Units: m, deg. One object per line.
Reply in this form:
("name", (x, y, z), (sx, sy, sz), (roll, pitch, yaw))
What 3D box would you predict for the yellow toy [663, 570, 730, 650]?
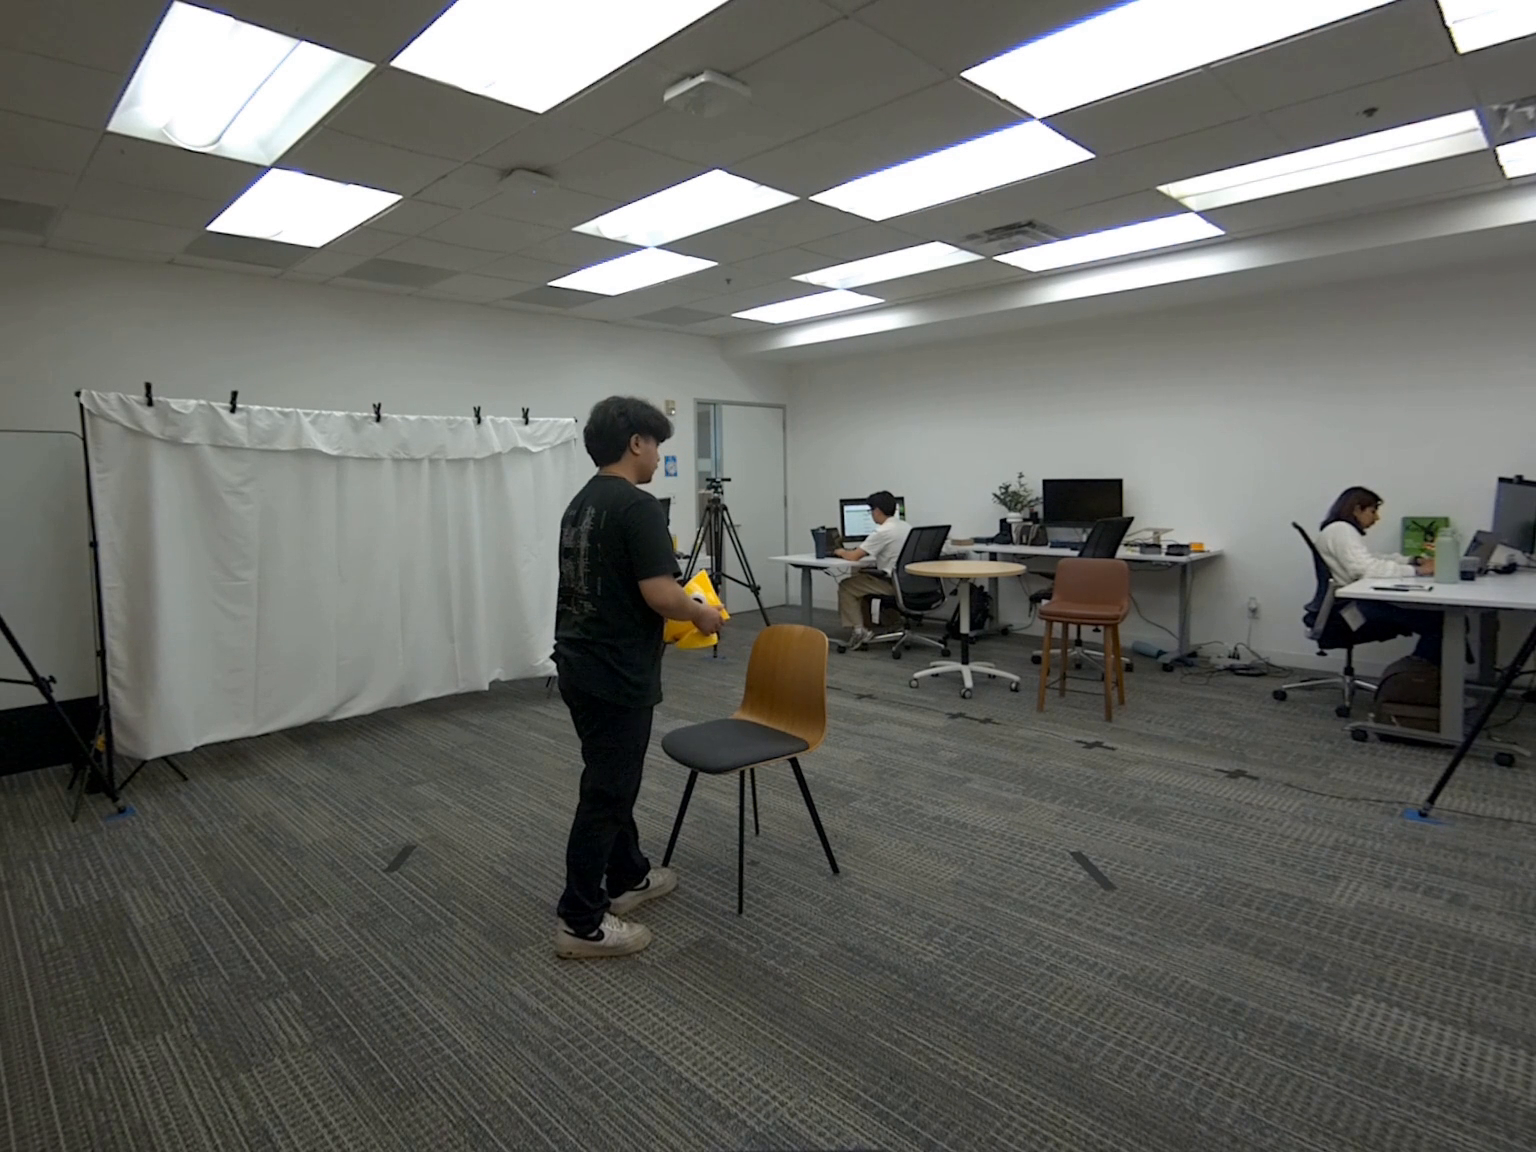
("yellow toy", (-0.258, 0.101, 2.828), (0.188, 0.229, 0.211), (-8, 10, -33))
